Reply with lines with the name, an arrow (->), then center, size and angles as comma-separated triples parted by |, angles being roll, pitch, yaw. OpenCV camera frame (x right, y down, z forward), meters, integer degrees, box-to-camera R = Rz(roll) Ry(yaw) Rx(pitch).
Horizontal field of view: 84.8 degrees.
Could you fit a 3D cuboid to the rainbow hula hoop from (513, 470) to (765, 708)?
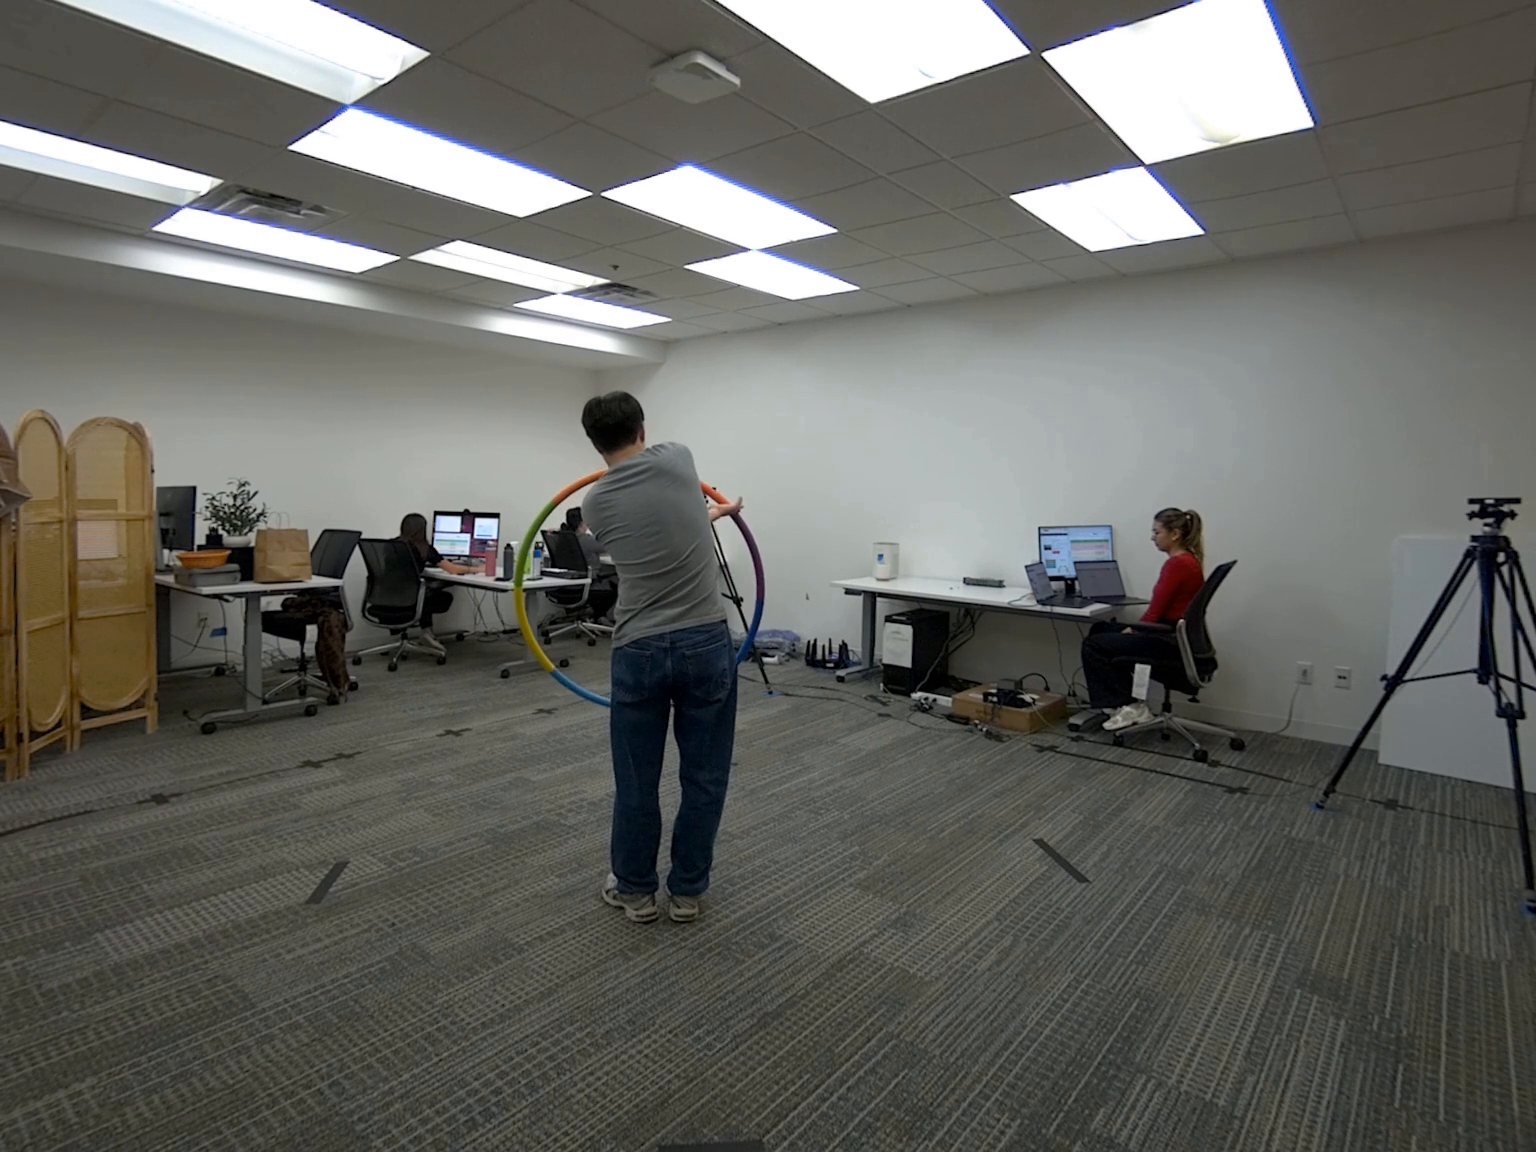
rainbow hula hoop -> -0.514, 0.065, 3.311 | 0.978, 0.969, 0.036 | 1, 9, 0
